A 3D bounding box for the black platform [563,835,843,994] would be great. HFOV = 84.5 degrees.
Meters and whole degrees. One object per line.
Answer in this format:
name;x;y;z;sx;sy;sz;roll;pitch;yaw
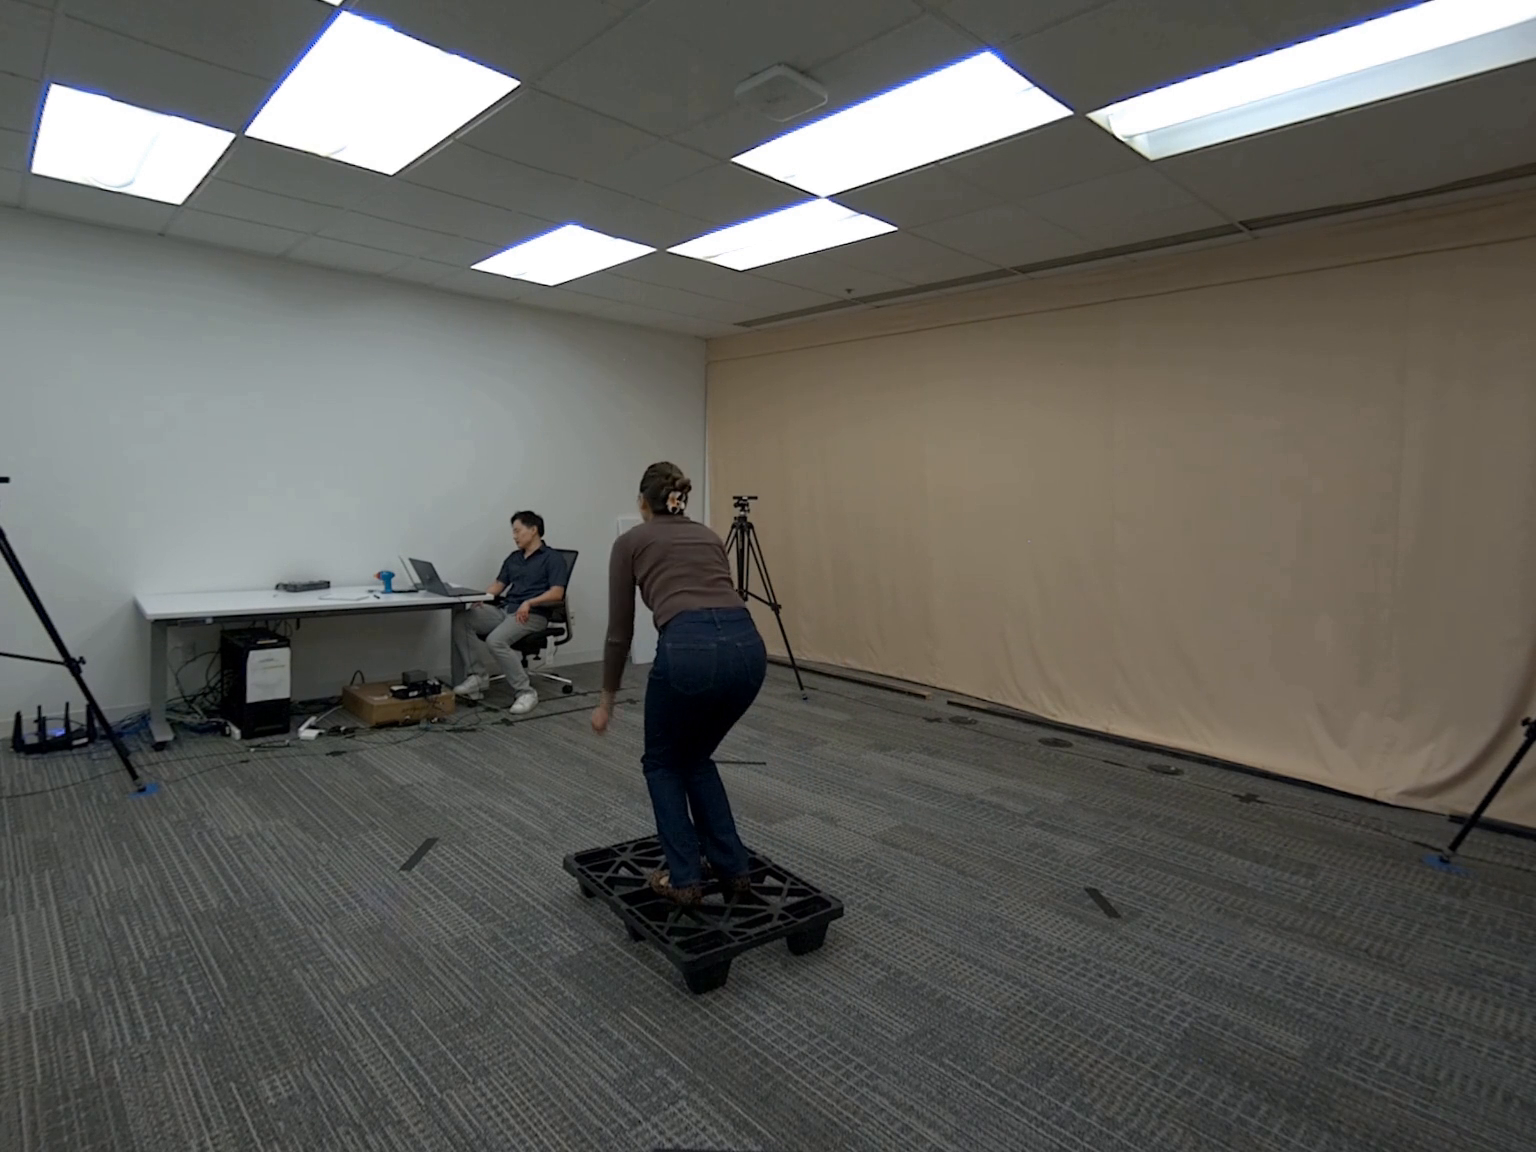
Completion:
black platform;-0.242;1.065;2.774;0.592;0.143;0.826;-2;6;-37
